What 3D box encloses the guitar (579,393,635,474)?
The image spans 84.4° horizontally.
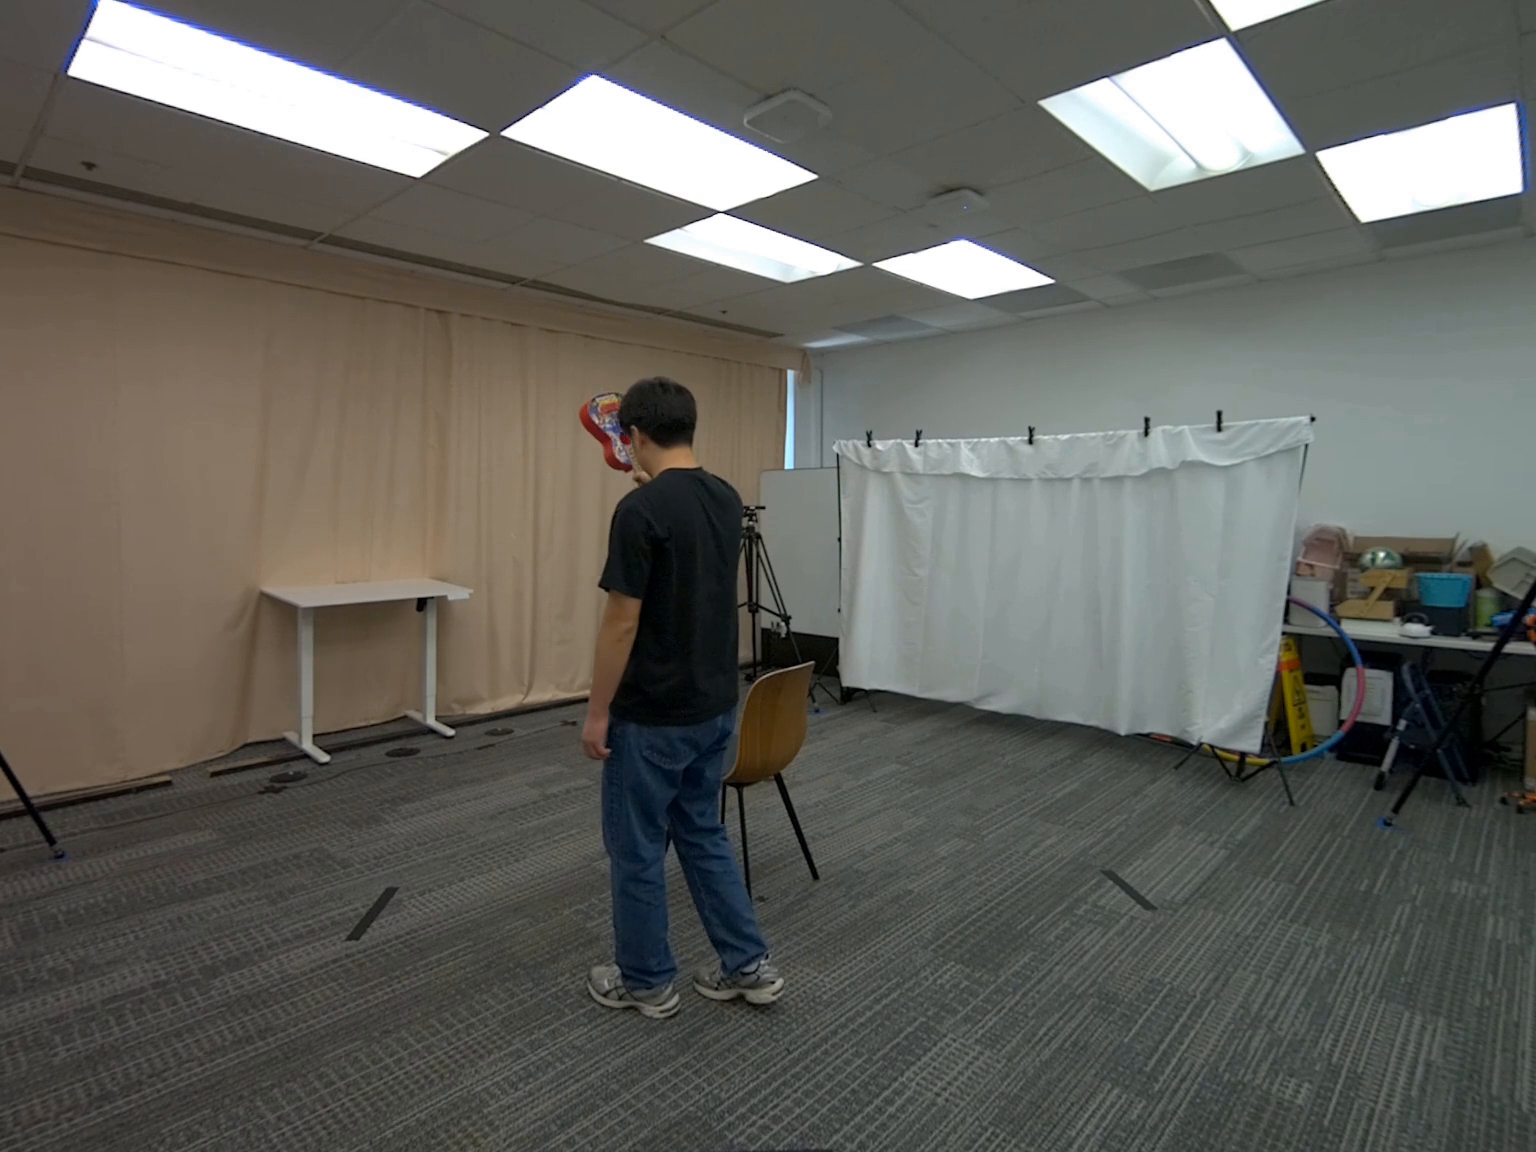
[{"bbox_3d":[-0.489,-0.390,2.884,0.188,0.500,0.072,-15,-8,-43],"label":"guitar"}]
